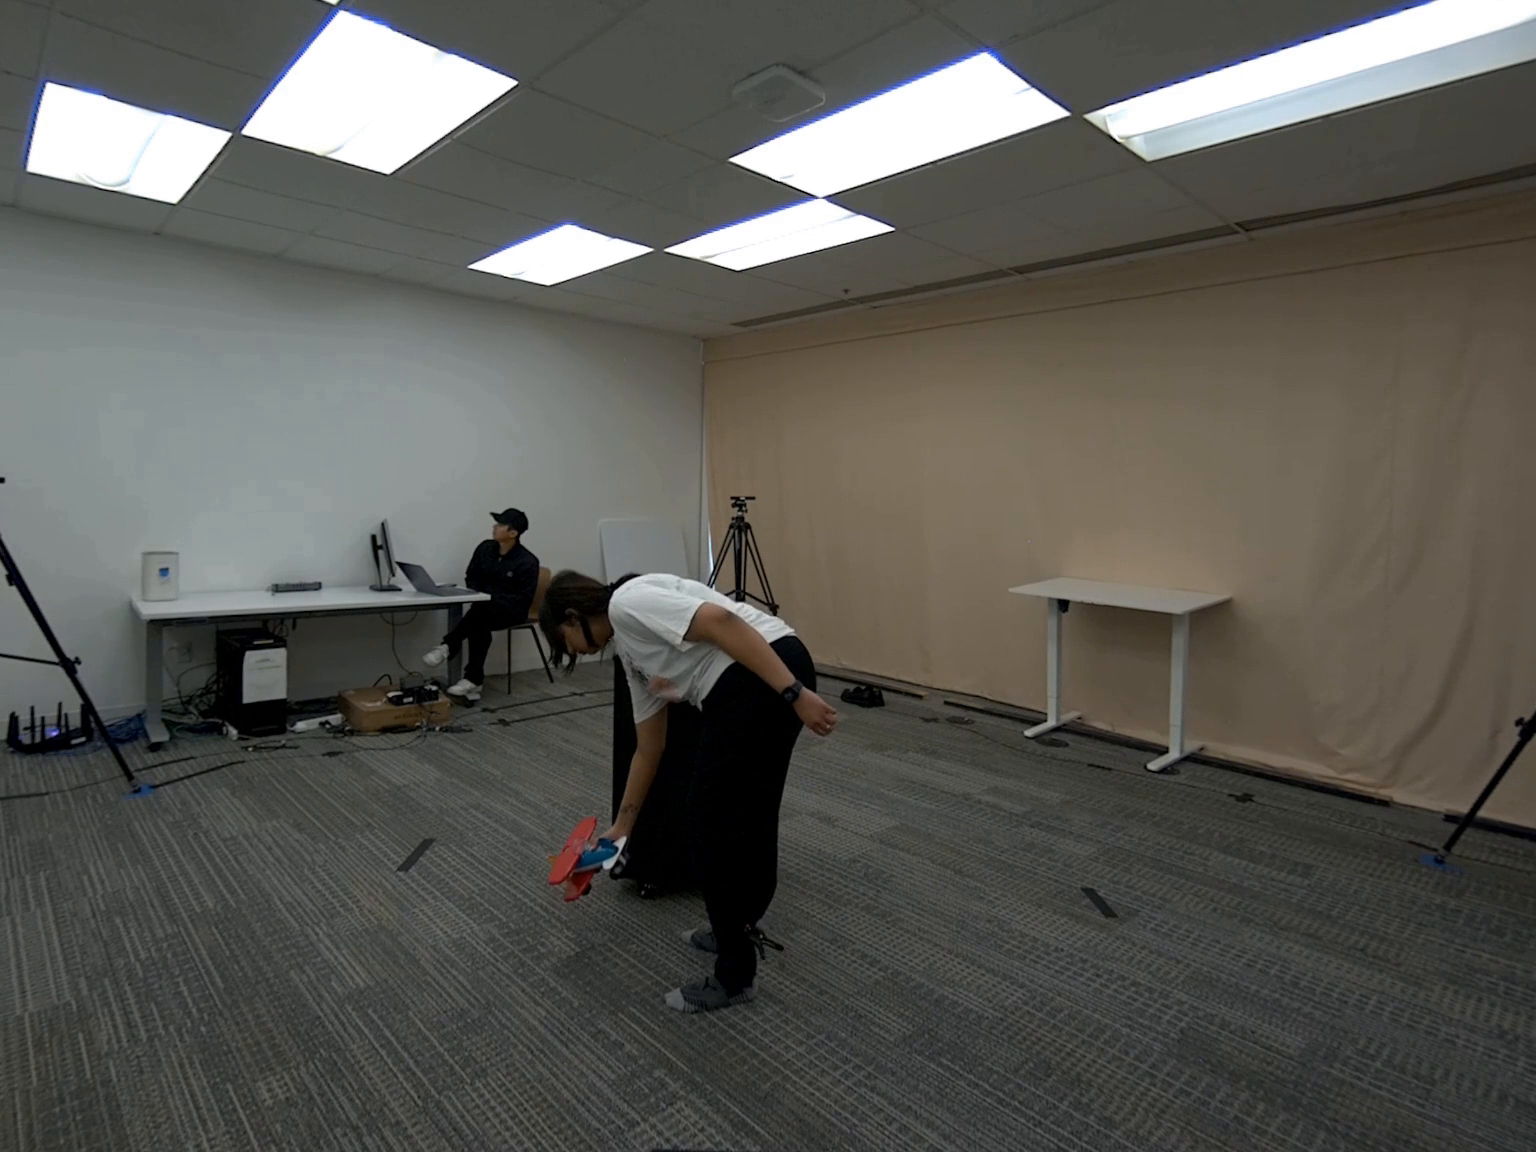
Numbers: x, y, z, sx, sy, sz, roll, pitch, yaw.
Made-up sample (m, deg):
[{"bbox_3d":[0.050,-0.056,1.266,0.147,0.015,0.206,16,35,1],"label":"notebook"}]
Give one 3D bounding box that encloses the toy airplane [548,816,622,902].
[{"bbox_3d":[-0.566,0.877,2.655,0.154,0.259,0.254,43,9,-13],"label":"toy airplane"}]
